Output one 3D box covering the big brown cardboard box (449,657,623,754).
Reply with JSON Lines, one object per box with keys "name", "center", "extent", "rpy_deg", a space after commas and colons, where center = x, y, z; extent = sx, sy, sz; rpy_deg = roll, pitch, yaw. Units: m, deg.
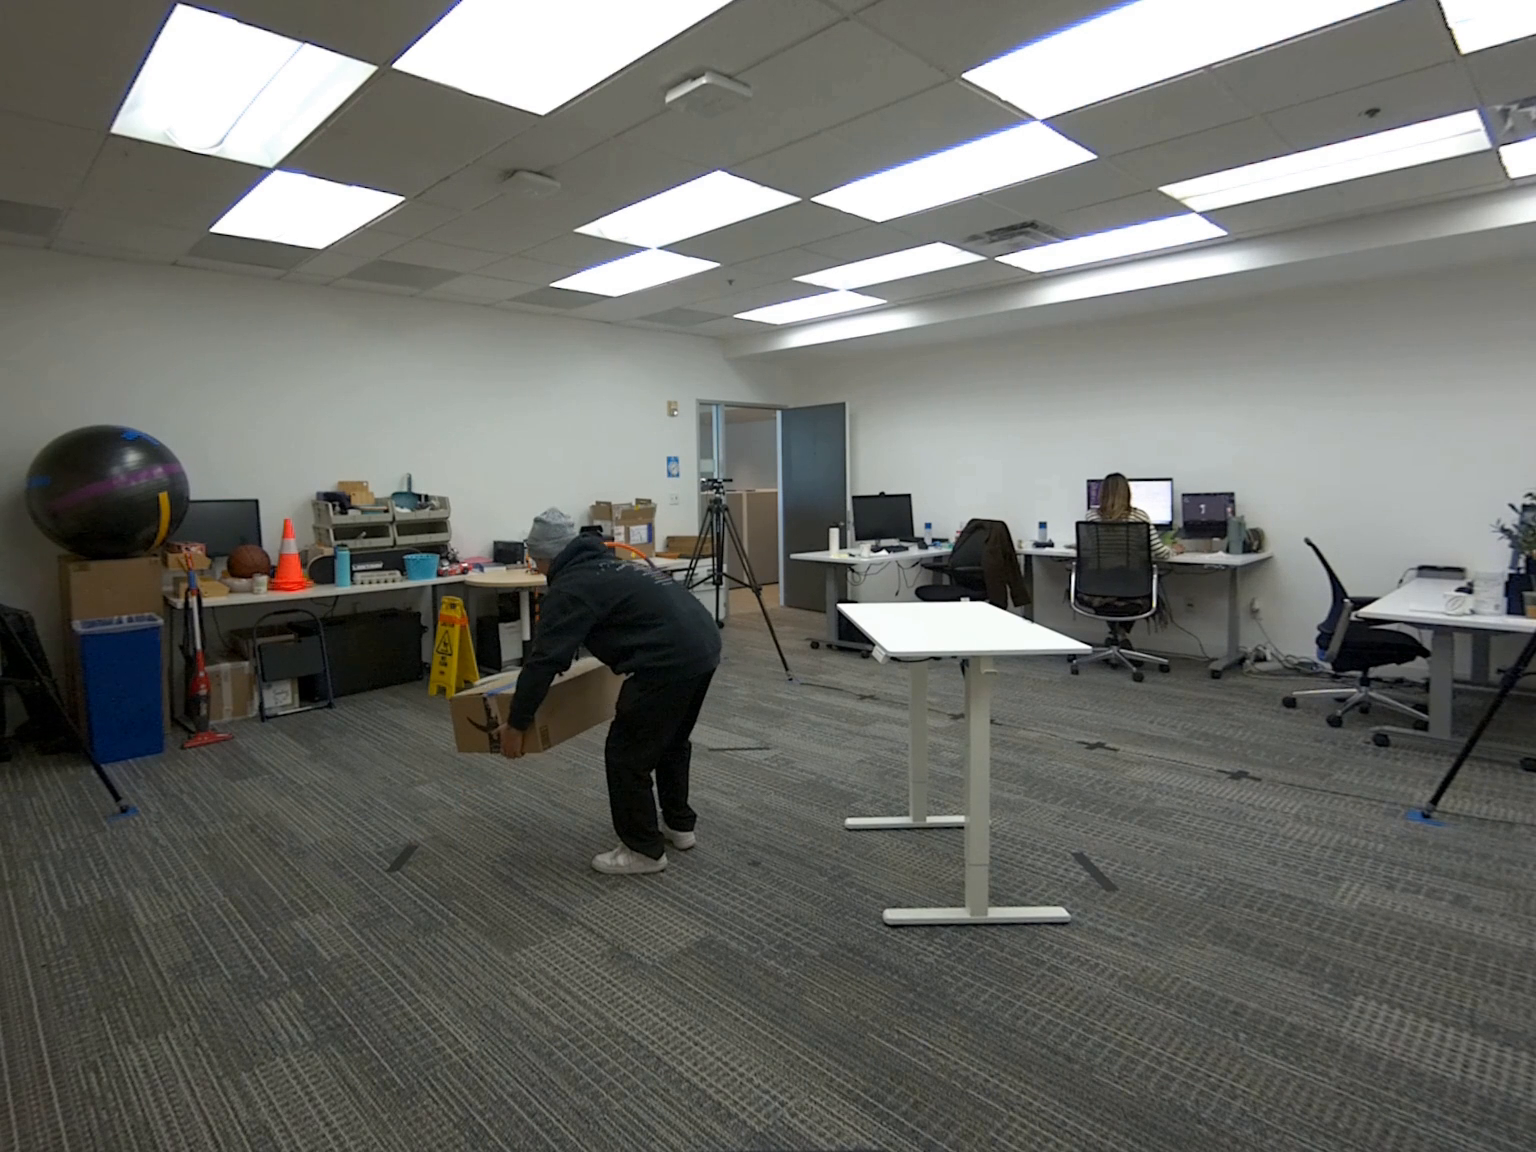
{"name": "big brown cardboard box", "center": [-0.867, 0.492, 3.339], "extent": [0.426, 0.232, 0.579], "rpy_deg": [-7, 5, 27]}
